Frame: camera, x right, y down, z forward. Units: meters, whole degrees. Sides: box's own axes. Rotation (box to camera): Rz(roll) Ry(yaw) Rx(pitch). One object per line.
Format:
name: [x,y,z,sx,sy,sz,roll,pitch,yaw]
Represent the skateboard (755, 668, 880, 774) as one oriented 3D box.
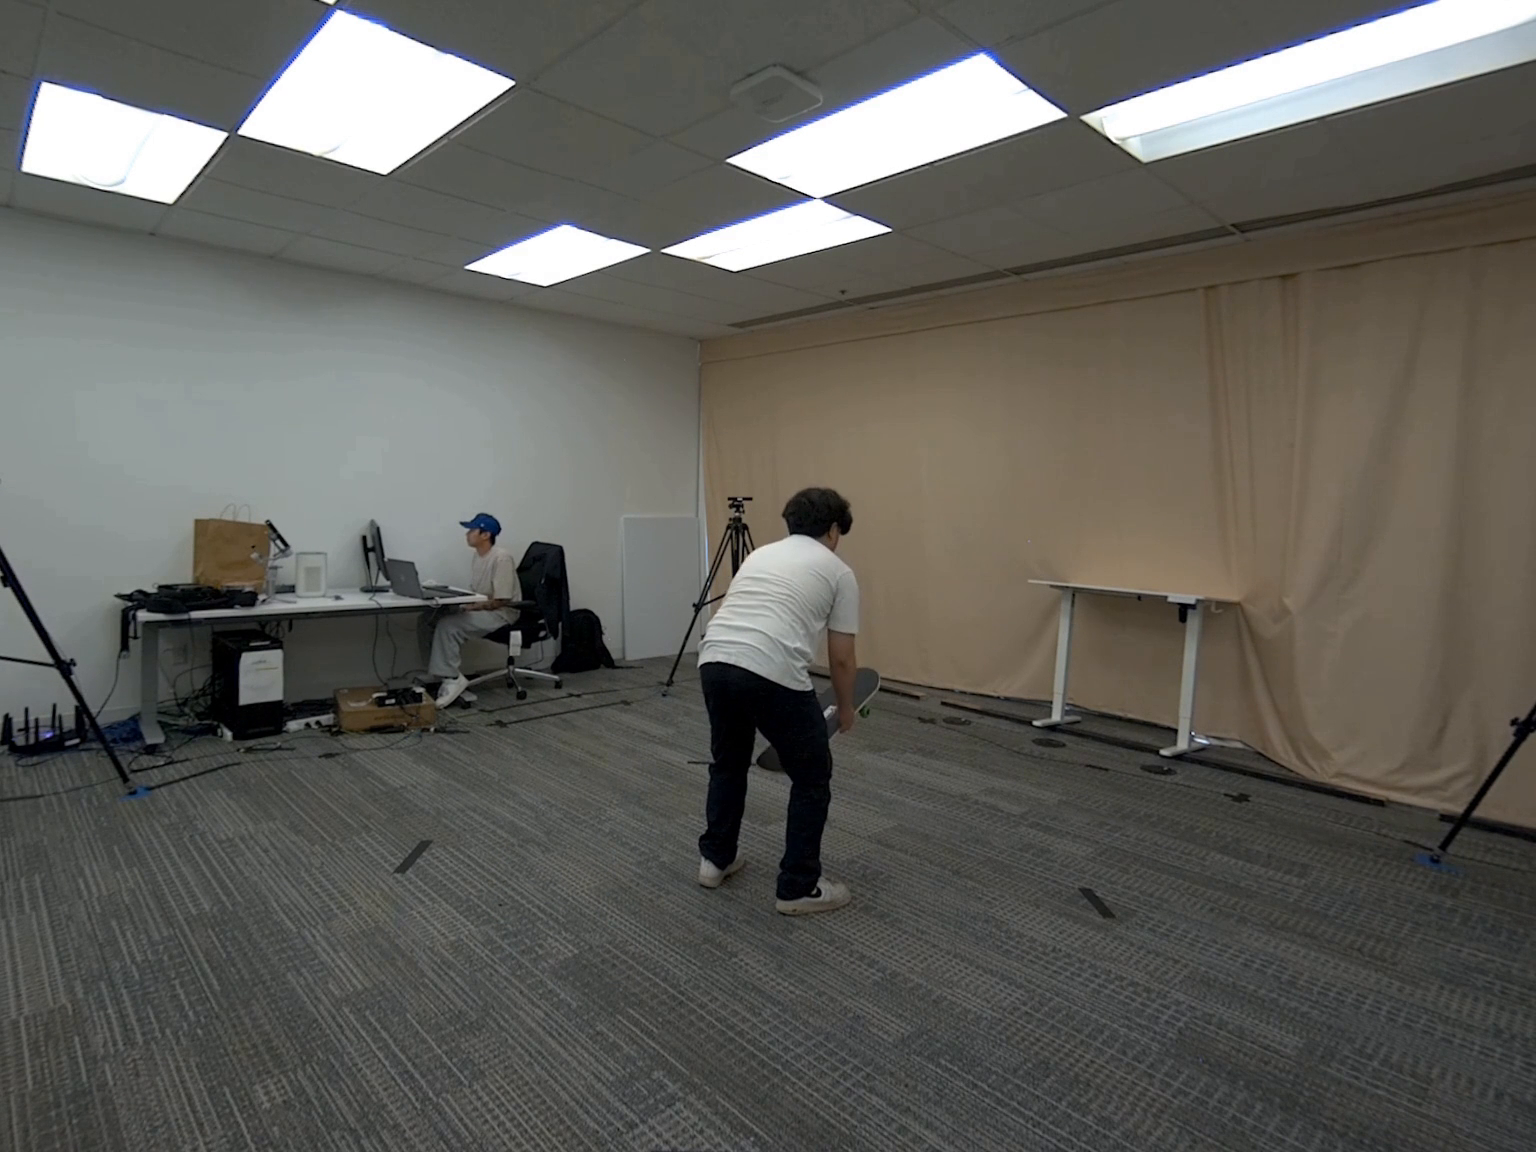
skateboard: [0.212,0.595,3.269,0.198,0.108,0.779,6,26,34]
